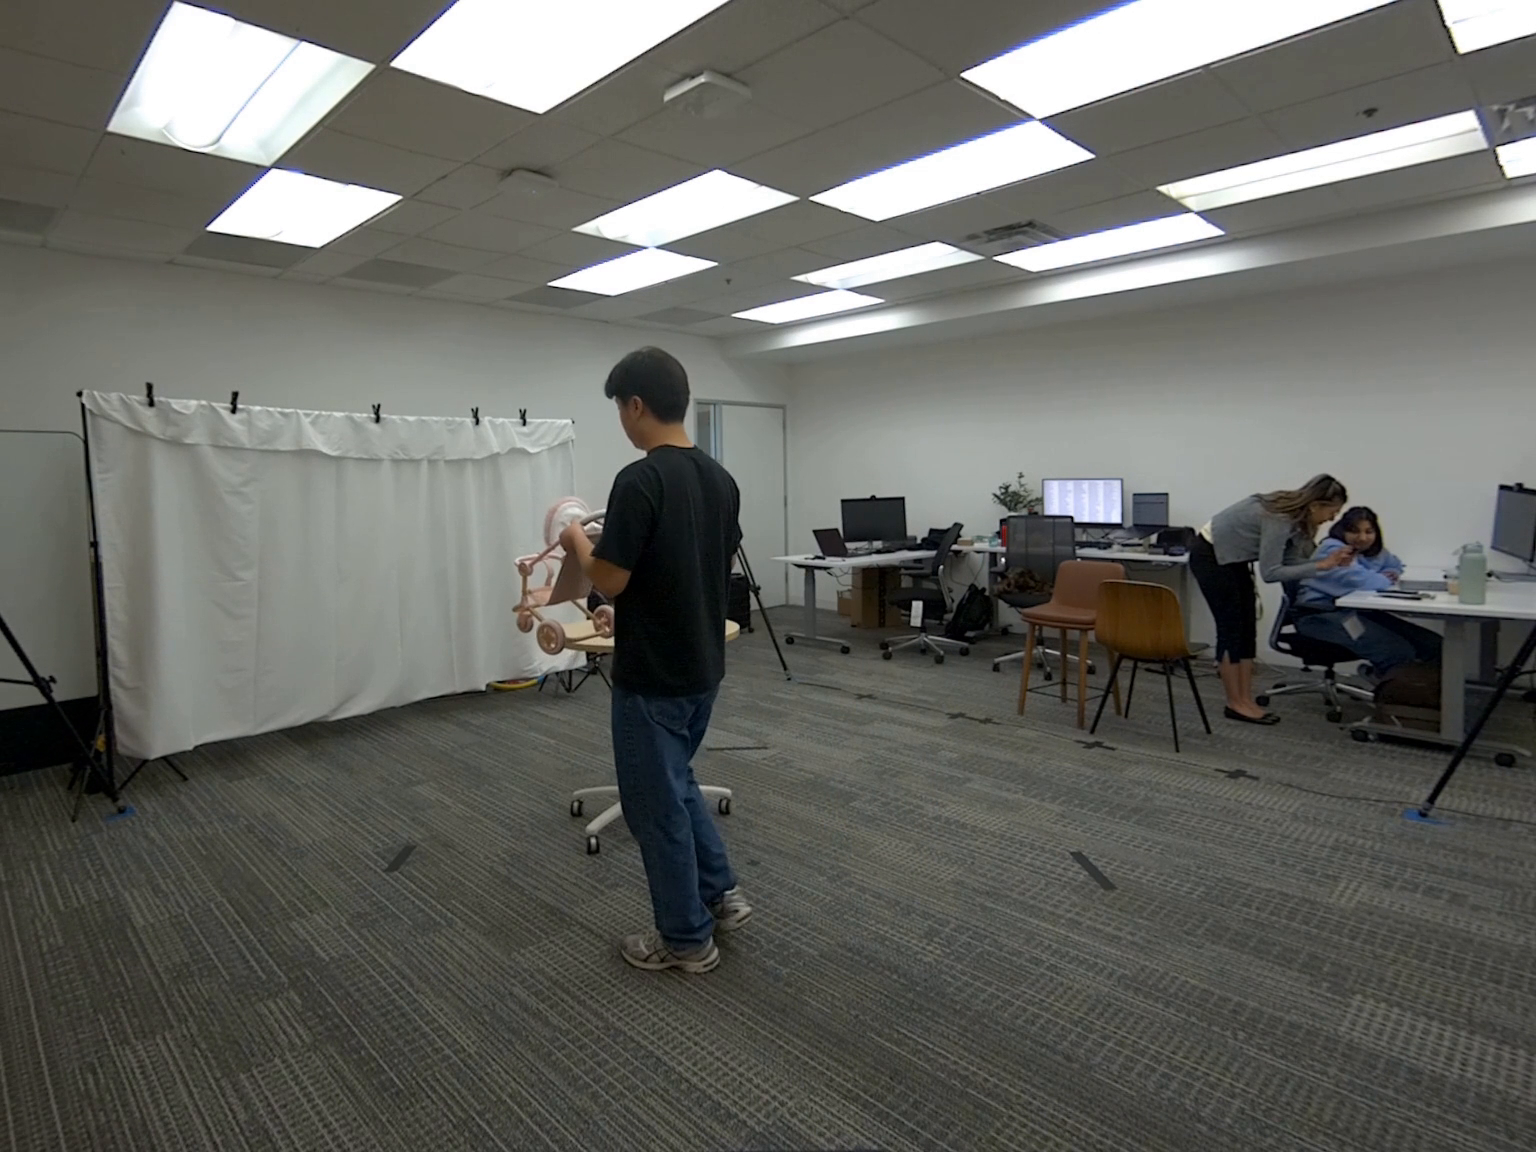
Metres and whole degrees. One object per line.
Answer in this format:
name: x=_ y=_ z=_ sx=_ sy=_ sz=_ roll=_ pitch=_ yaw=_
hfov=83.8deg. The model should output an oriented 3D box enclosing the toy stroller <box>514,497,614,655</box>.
toy stroller: x=-0.637 y=-0.008 z=2.703 sx=0.353 sy=0.529 sz=0.274 roll=25 pitch=20 yaw=33
